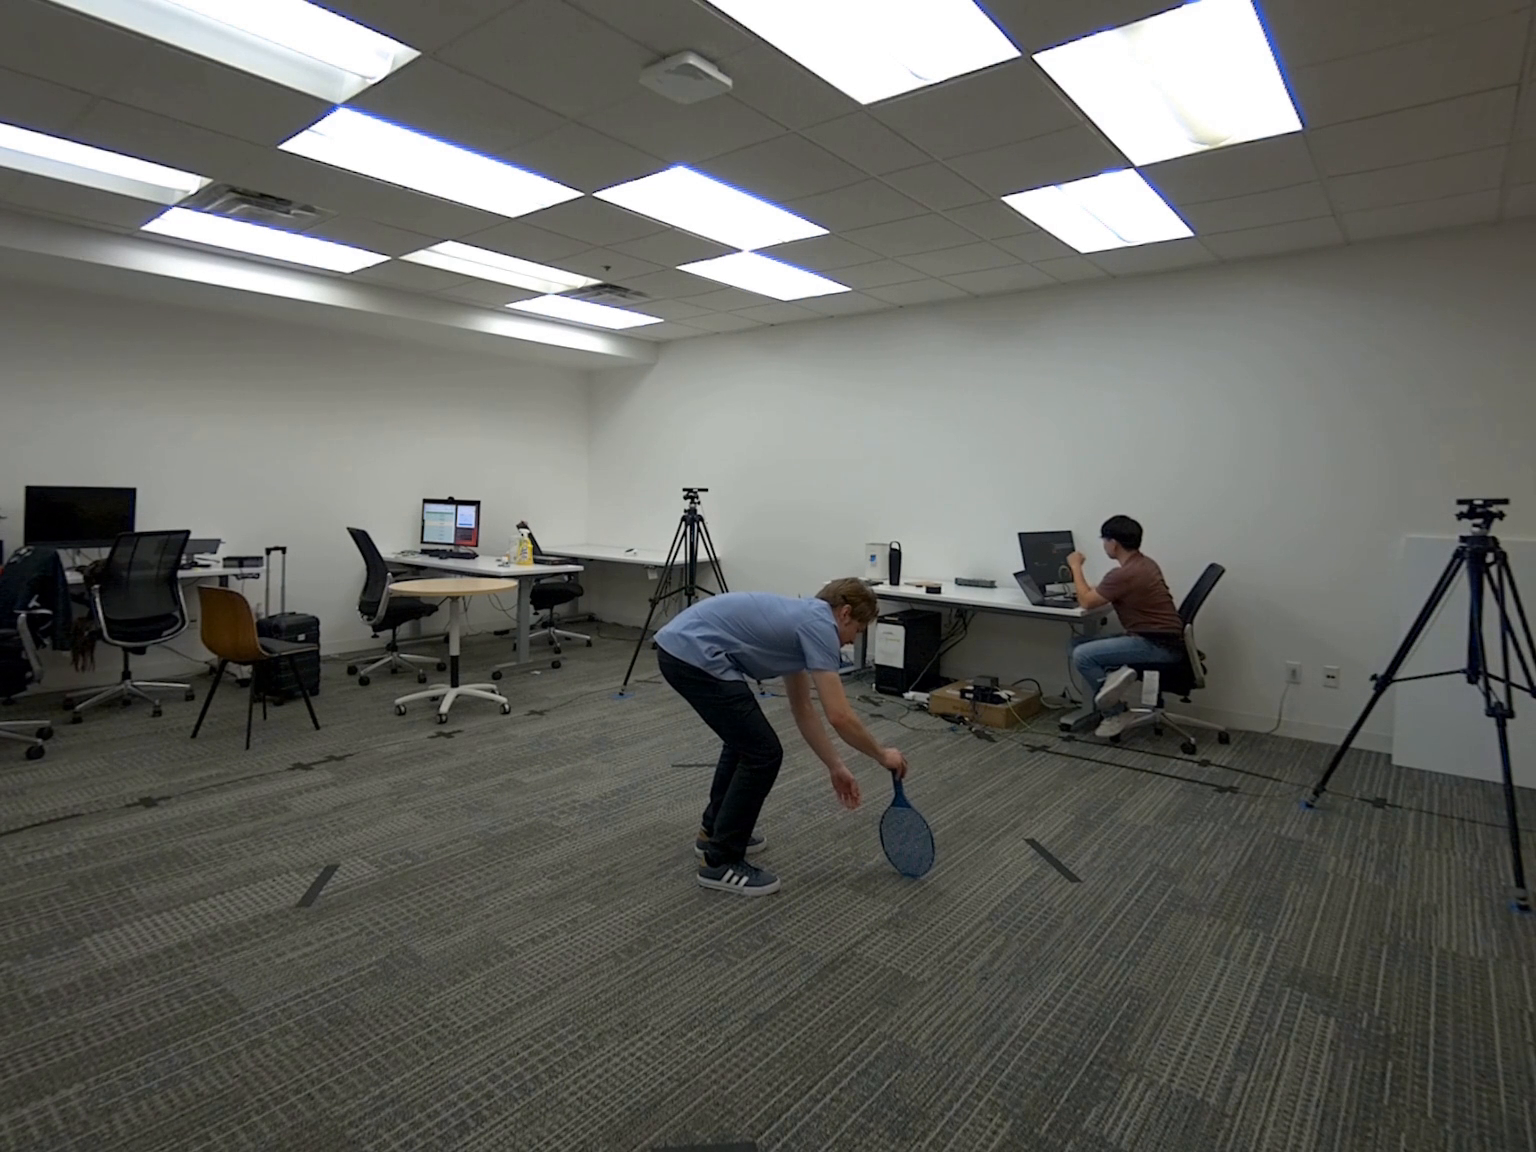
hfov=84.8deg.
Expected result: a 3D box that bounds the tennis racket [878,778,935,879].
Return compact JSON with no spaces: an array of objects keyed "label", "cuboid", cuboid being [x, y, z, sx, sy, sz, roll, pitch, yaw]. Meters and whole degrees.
[{"label":"tennis racket","cuboid":[0.481,0.873,3.093,0.219,0.433,0.031,-5,0,32]}]
